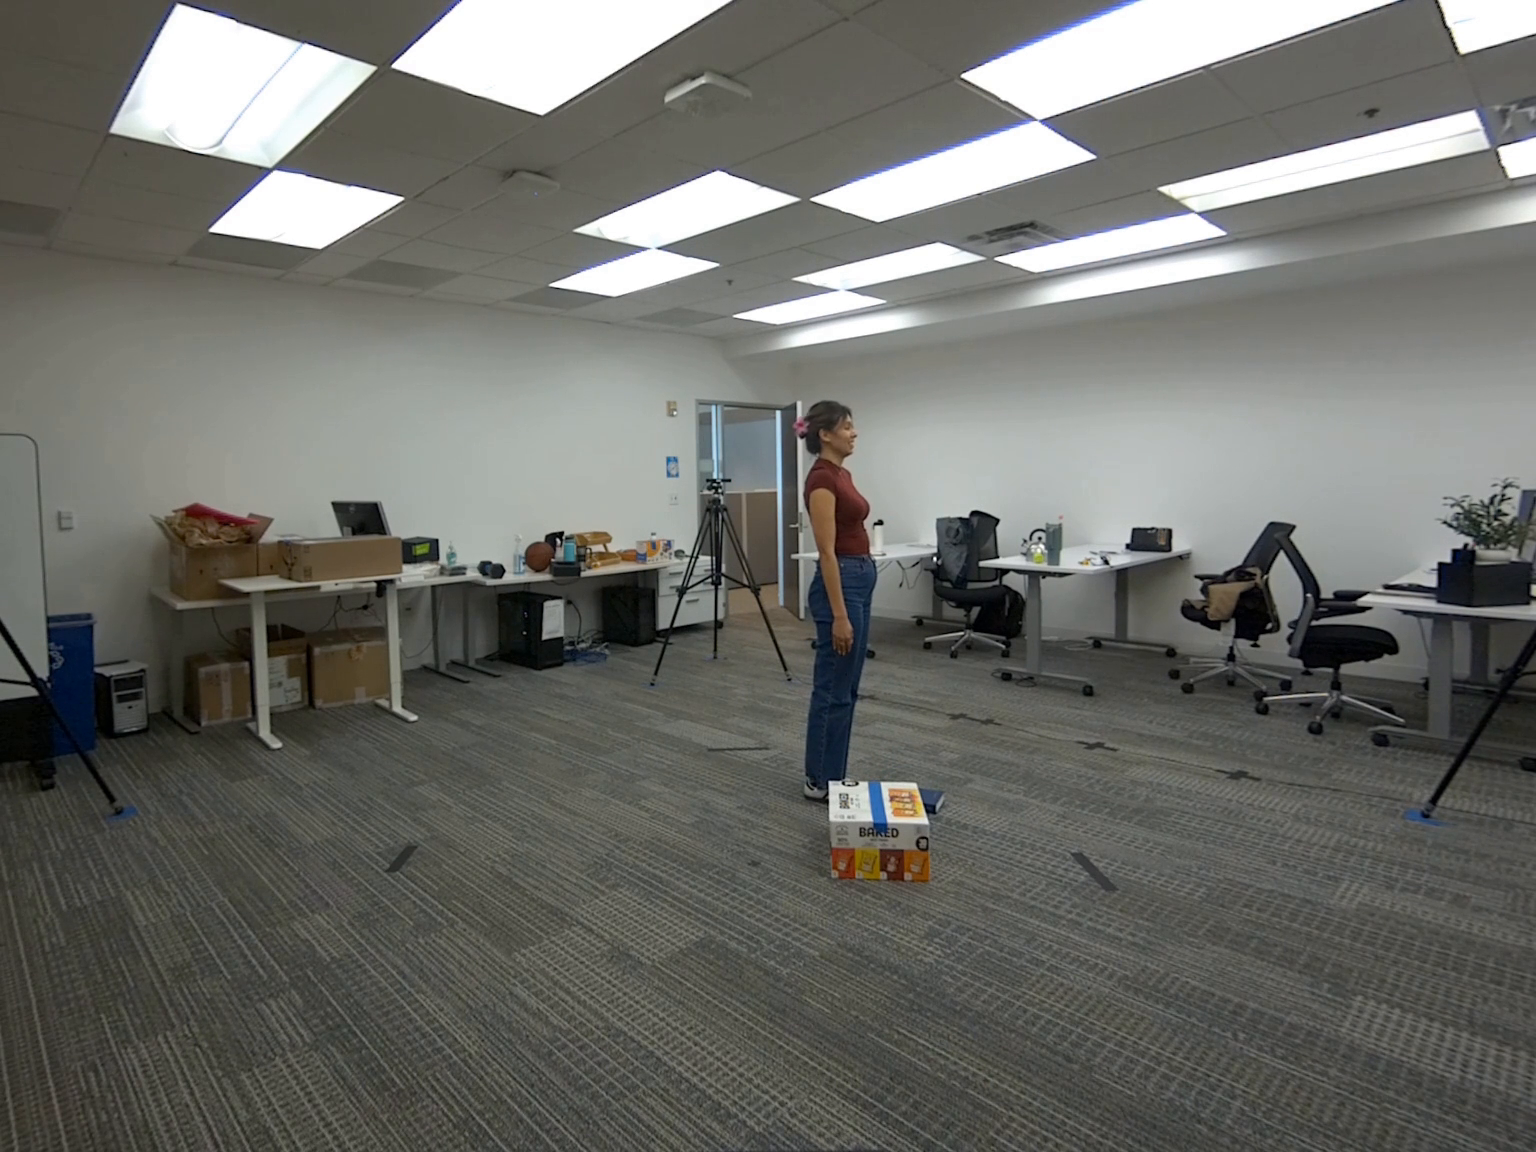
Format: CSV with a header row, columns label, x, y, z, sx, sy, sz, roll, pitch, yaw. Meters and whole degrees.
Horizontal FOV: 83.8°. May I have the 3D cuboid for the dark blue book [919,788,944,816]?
label,x,y,z,sx,sy,sz,roll,pitch,yaw
dark blue book,0.614,0.952,3.654,0.251,0.045,0.160,0,5,27
